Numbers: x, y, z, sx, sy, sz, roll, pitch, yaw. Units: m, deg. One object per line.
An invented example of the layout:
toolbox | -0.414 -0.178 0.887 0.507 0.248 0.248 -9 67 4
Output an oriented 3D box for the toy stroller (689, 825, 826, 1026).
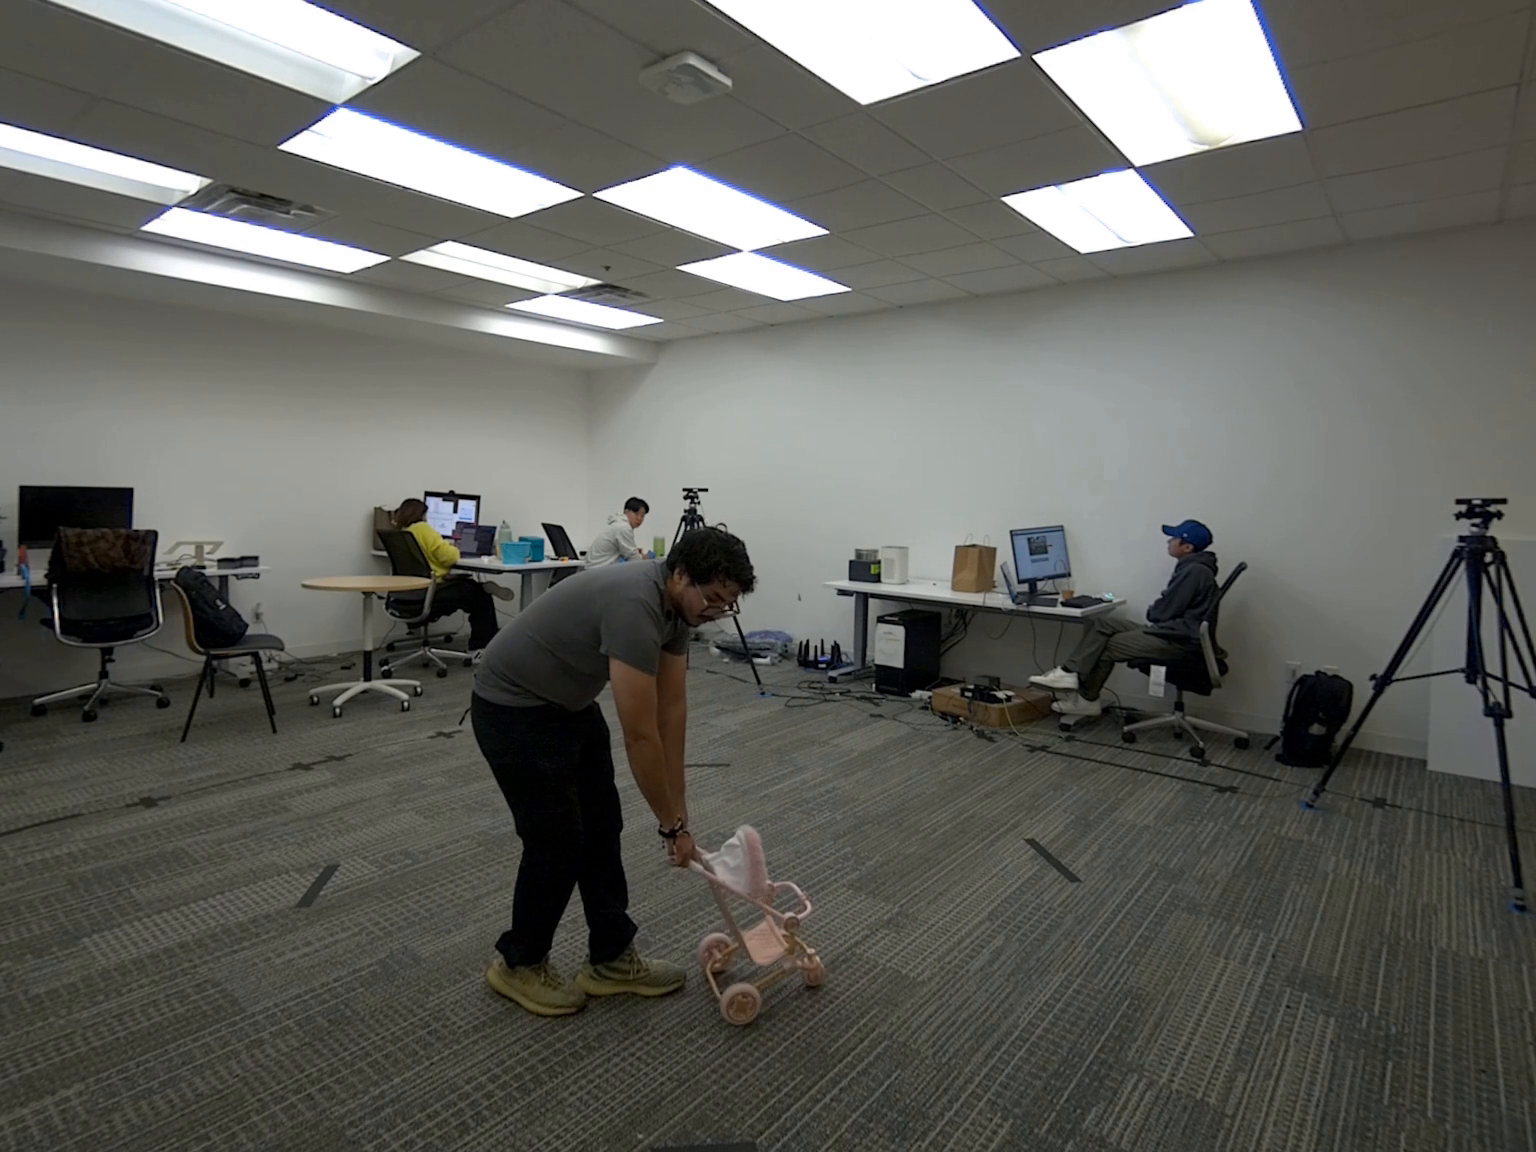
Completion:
toy stroller | -0.045 0.926 2.326 0.338 0.531 0.286 -14 7 -11
